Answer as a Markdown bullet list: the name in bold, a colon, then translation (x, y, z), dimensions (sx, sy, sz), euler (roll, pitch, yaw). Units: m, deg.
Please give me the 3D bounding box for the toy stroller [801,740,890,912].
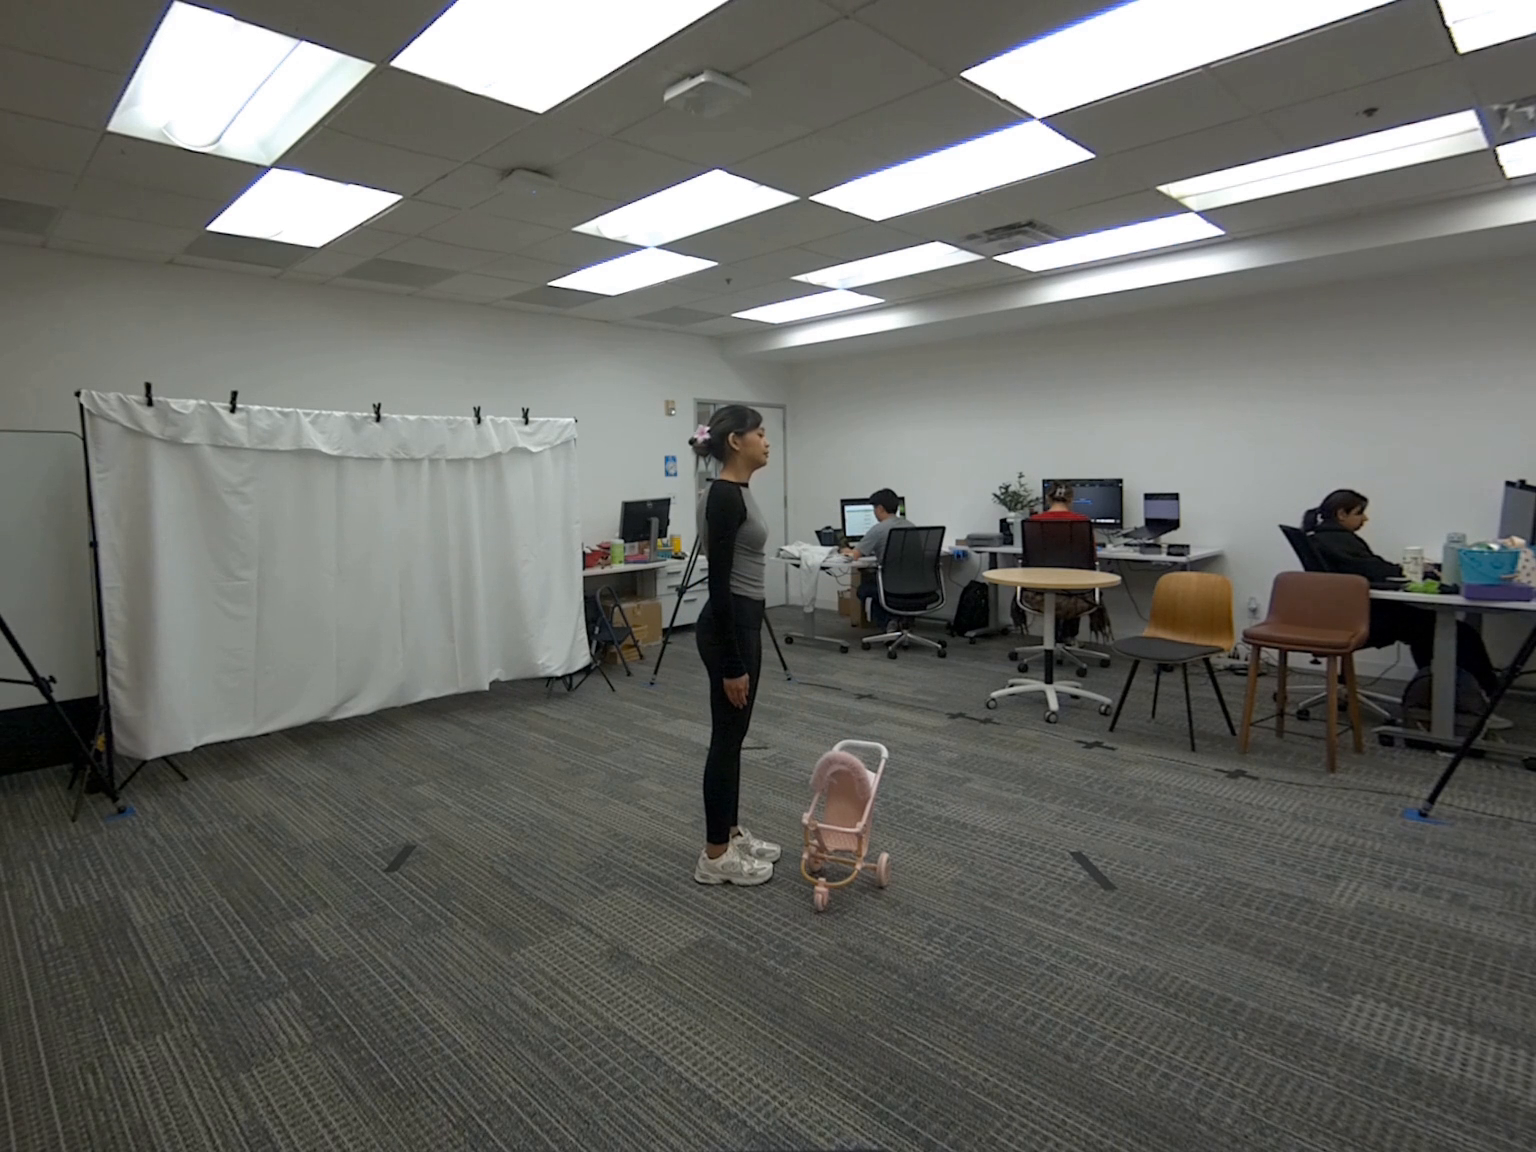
- **toy stroller**: translation (0.249, 0.833, 2.907), dimensions (0.289, 0.539, 0.330), euler (0, -11, 31)
